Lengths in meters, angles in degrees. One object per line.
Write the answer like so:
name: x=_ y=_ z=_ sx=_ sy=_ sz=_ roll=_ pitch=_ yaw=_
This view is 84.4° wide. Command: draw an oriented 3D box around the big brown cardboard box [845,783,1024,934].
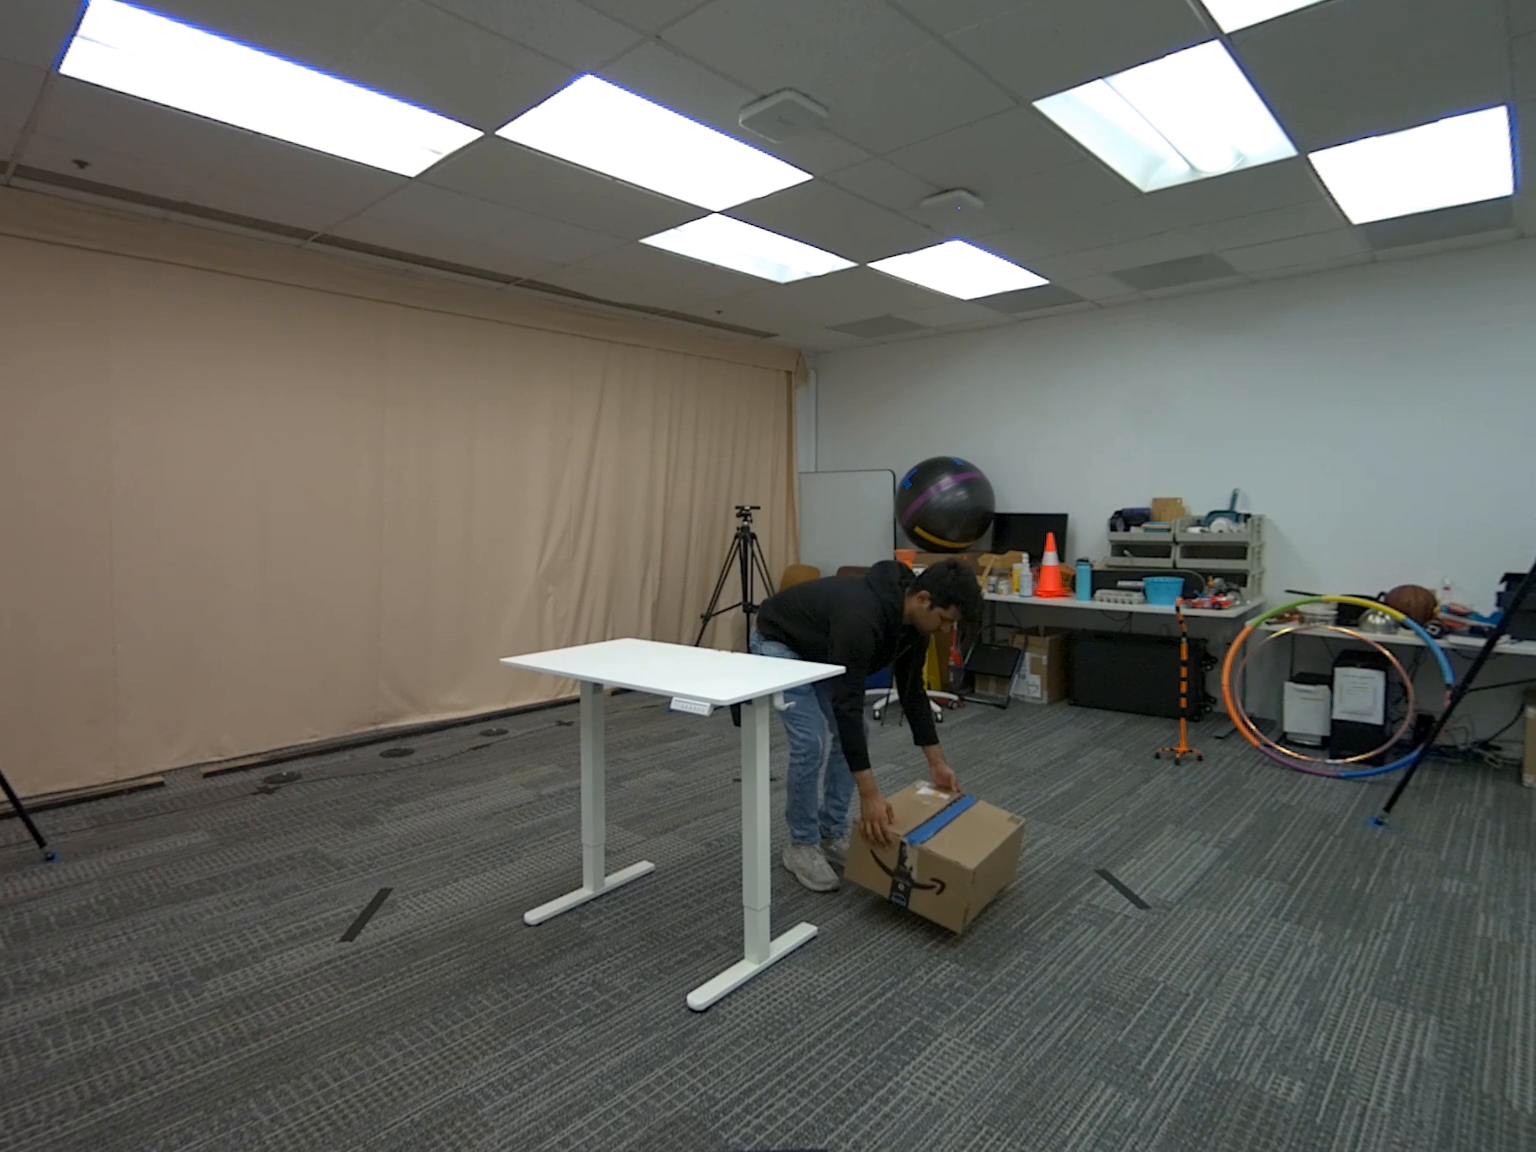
big brown cardboard box: x=0.607 y=0.933 z=2.939 sx=0.431 sy=0.232 sz=0.572 roll=13 pitch=10 yaw=33
